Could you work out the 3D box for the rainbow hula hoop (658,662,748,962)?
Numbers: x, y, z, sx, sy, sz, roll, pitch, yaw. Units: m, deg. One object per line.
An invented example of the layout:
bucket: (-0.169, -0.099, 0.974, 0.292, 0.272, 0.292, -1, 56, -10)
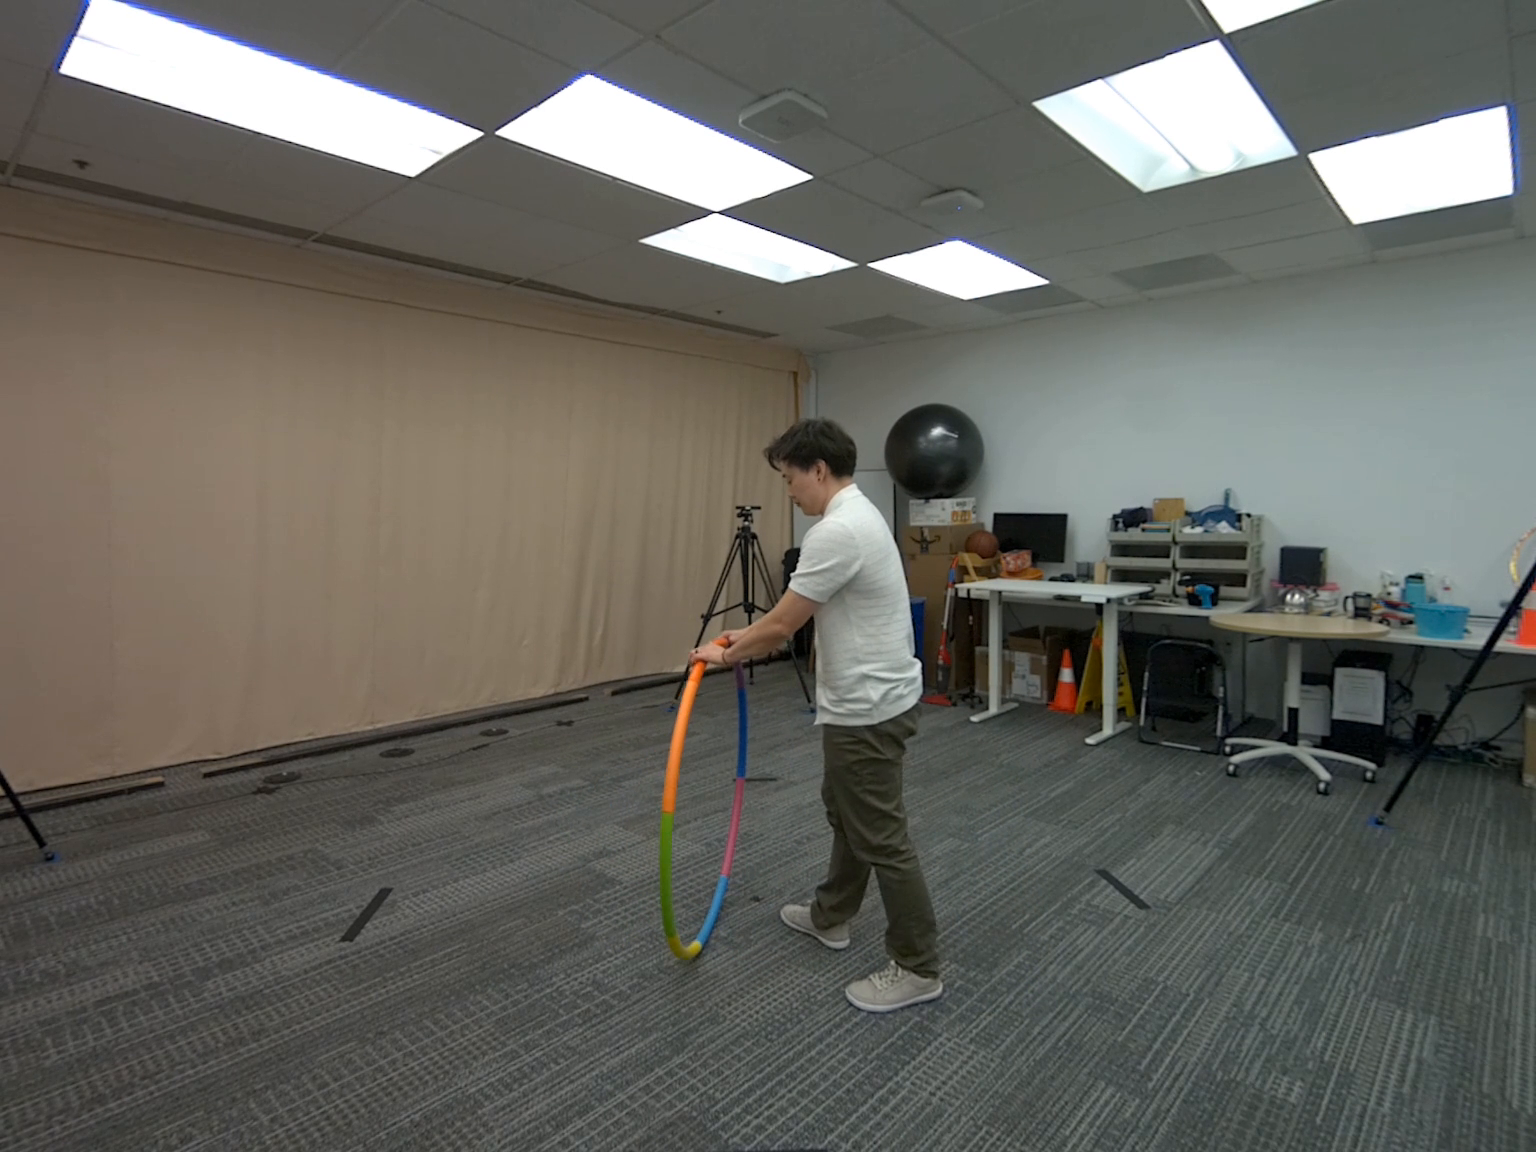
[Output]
rainbow hula hoop: (-0.182, 0.685, 2.692, 0.036, 0.976, 0.966, 3, 4, 12)
